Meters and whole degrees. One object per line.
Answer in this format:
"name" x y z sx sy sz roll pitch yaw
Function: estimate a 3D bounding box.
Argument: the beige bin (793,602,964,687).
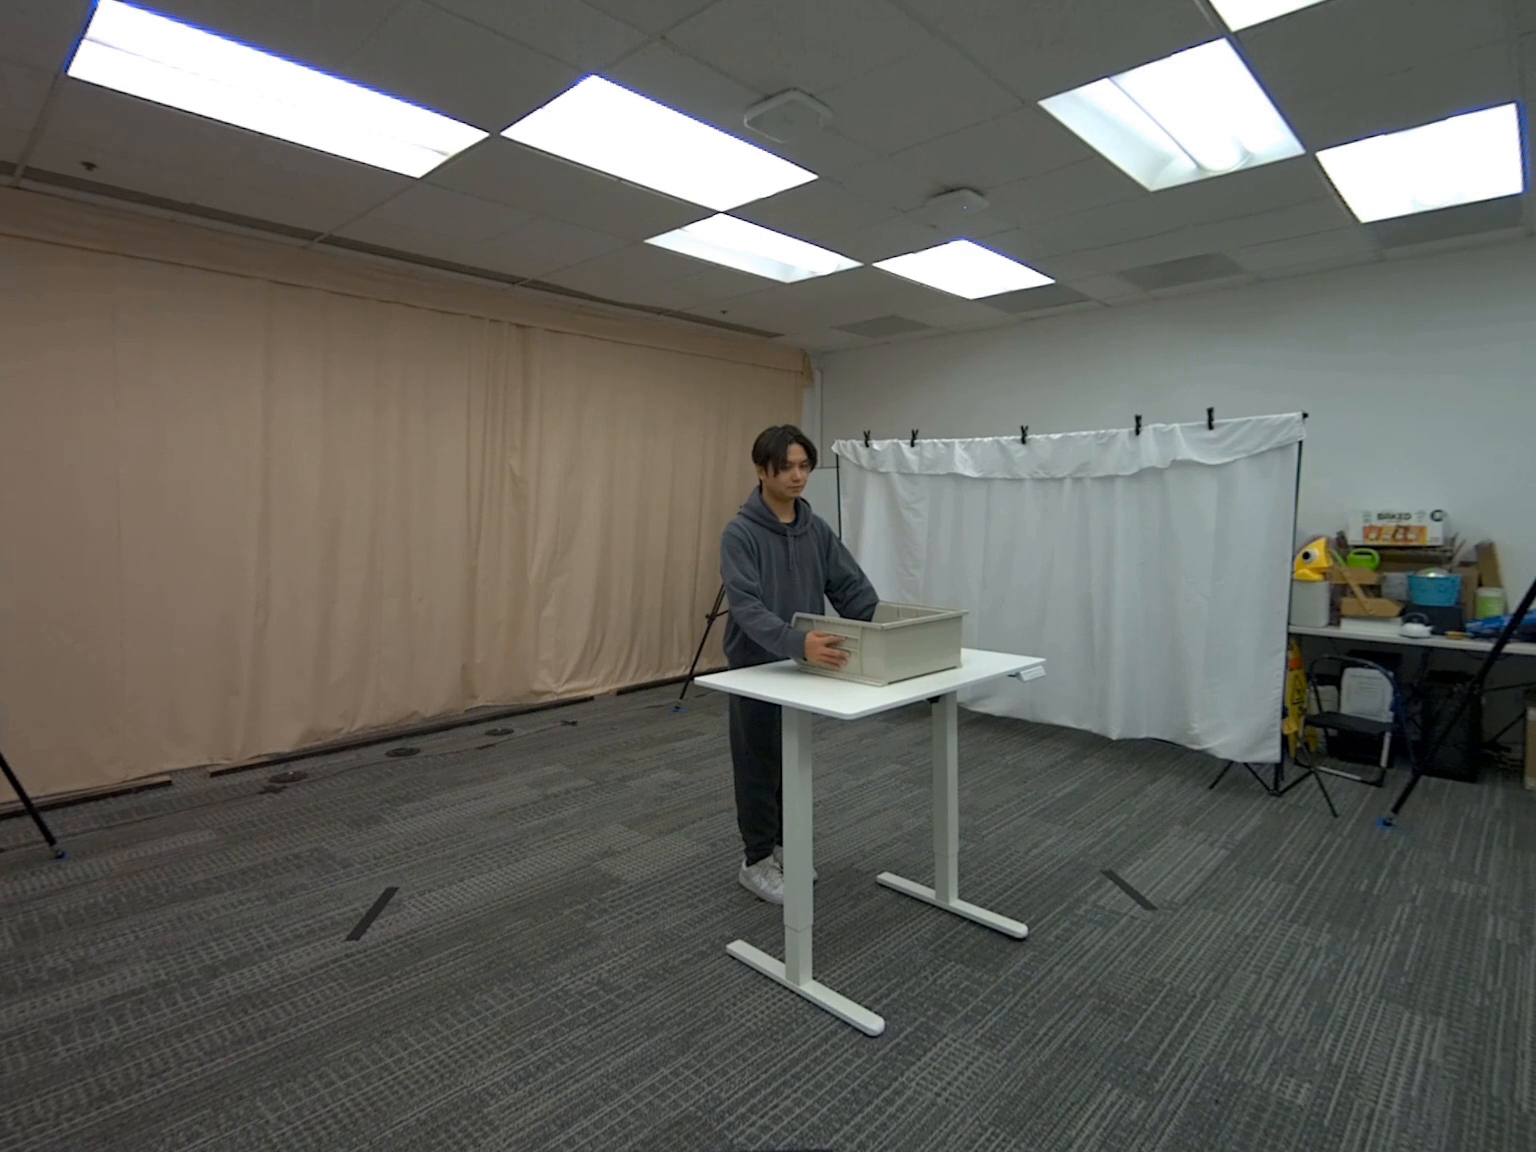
"beige bin" 0.354 0.207 2.602 0.409 0.188 0.390 -5 7 -42
